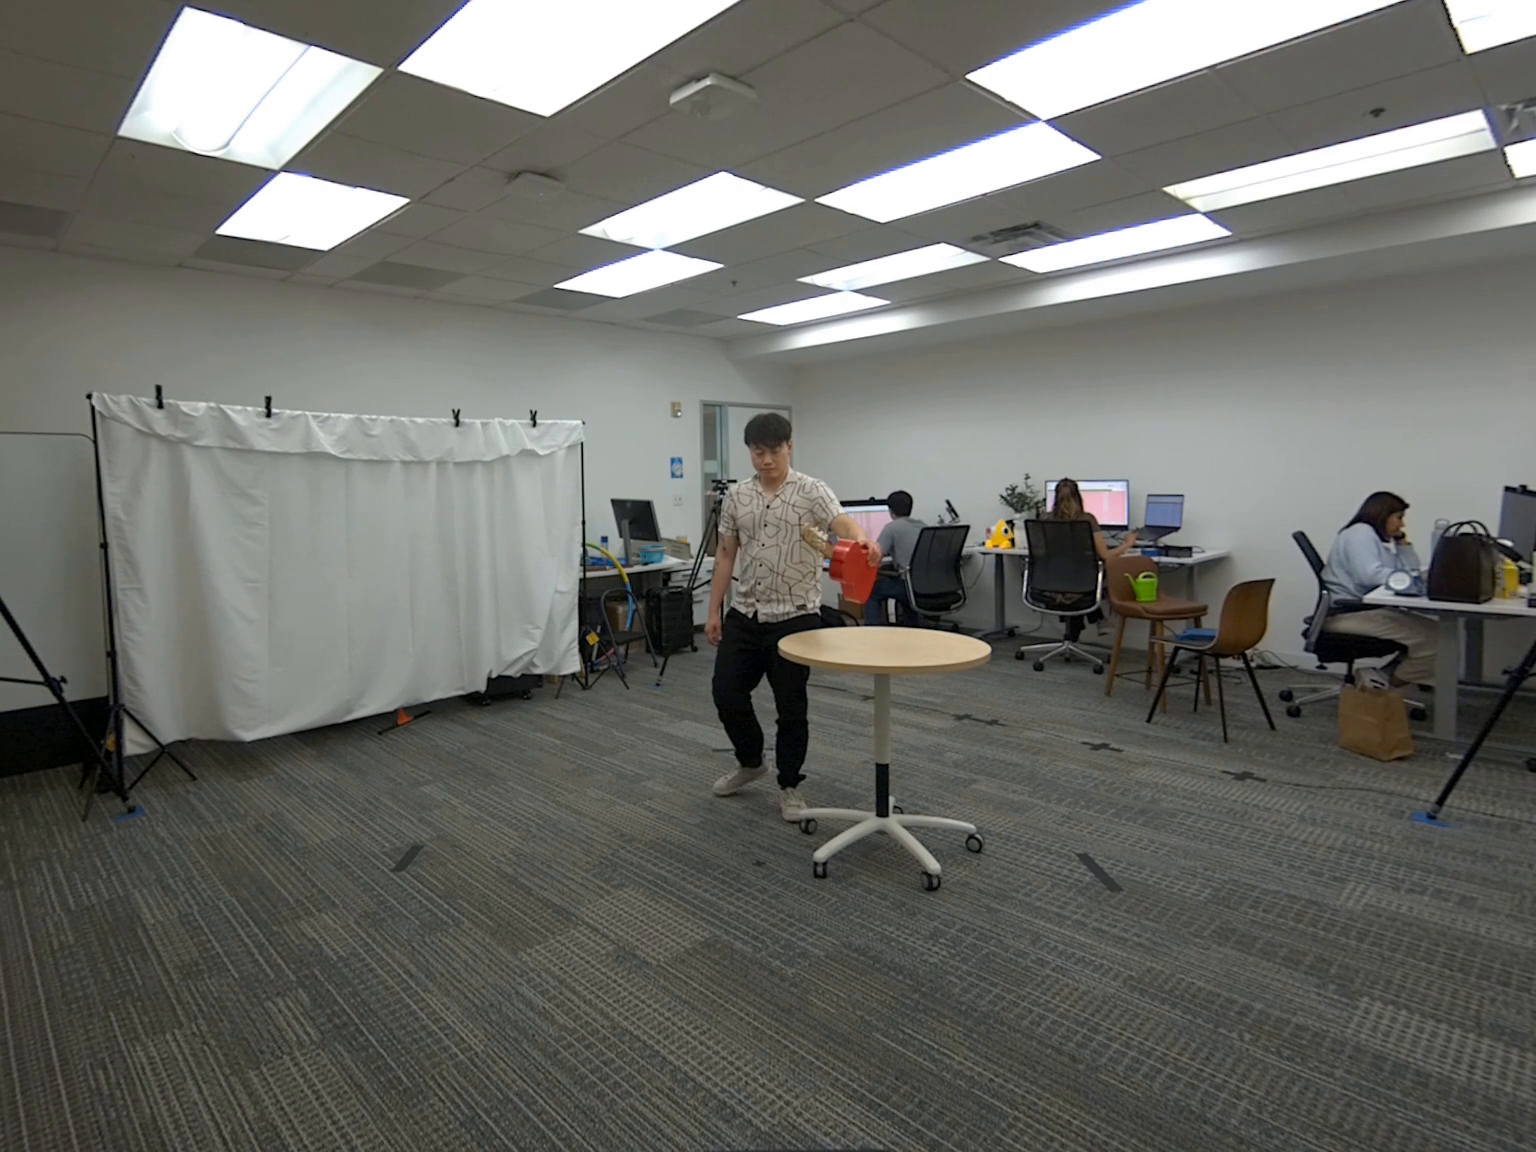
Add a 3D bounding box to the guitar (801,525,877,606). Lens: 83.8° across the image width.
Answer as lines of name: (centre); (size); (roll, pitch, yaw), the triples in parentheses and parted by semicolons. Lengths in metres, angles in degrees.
guitar: (0.239, -0.030, 2.900); (0.073, 0.194, 0.481); (9, -6, 32)
